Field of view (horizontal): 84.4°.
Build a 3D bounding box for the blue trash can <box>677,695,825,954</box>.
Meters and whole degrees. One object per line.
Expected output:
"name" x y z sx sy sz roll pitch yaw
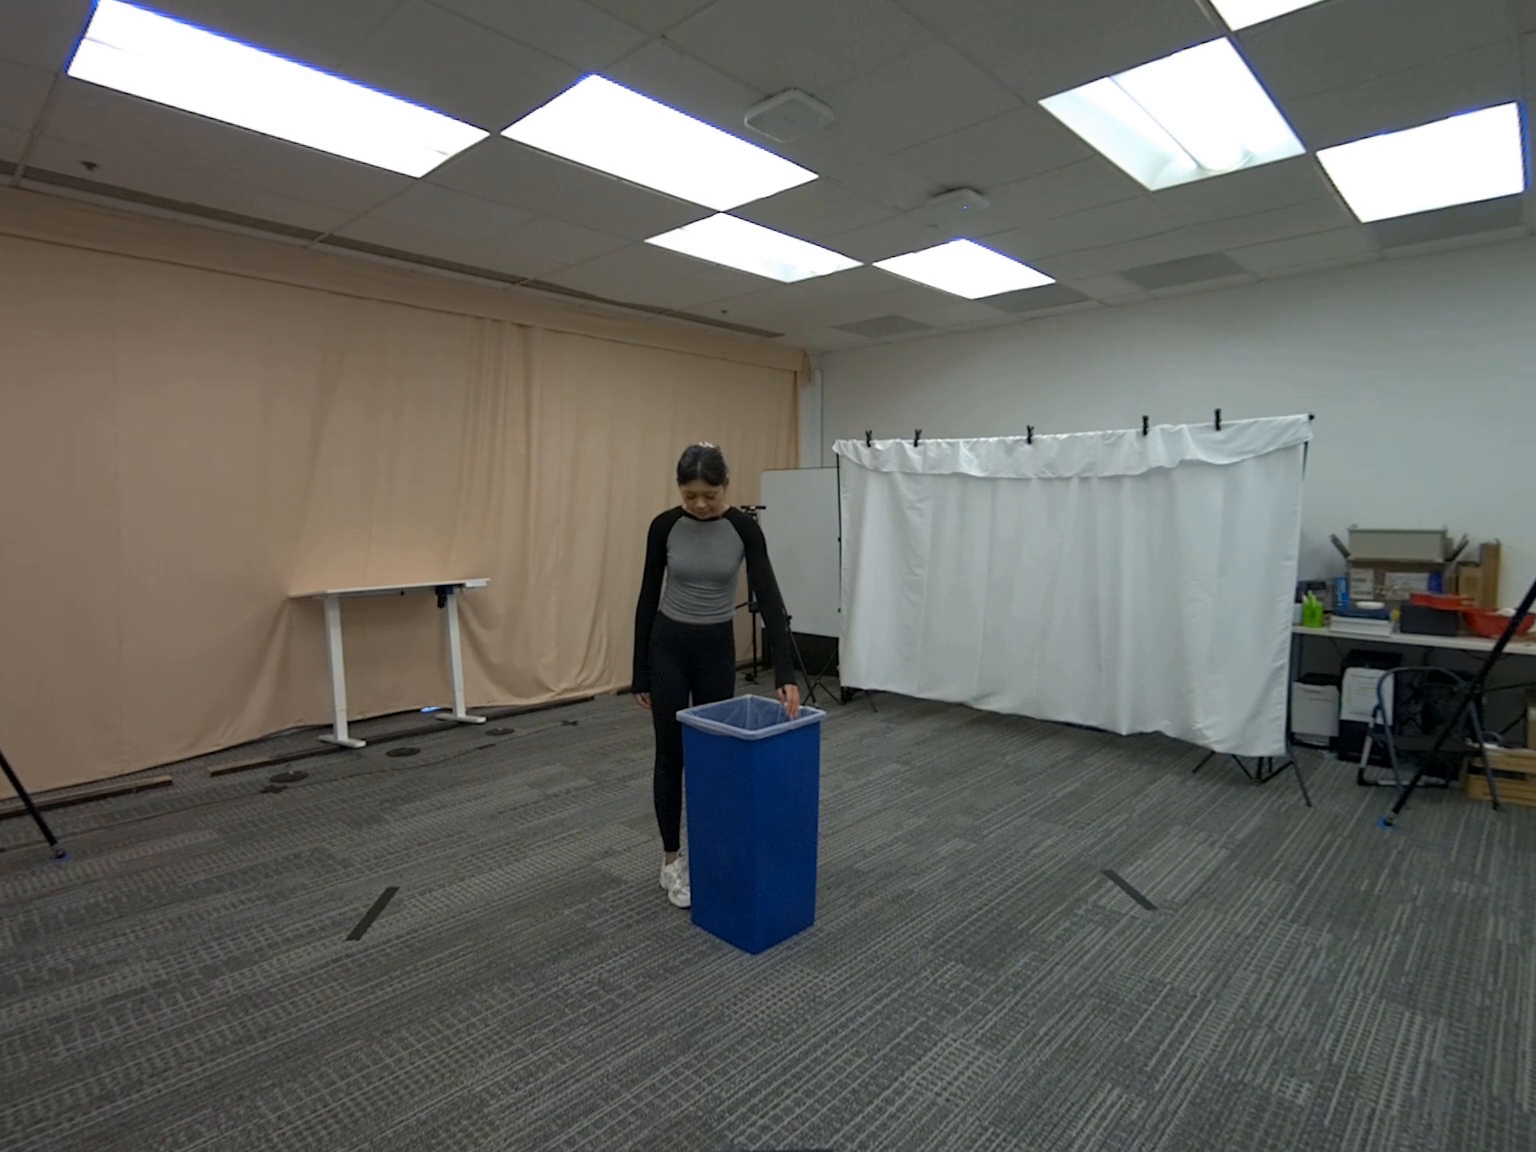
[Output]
"blue trash can" -0.050 0.803 2.784 0.391 0.712 0.362 3 4 44
